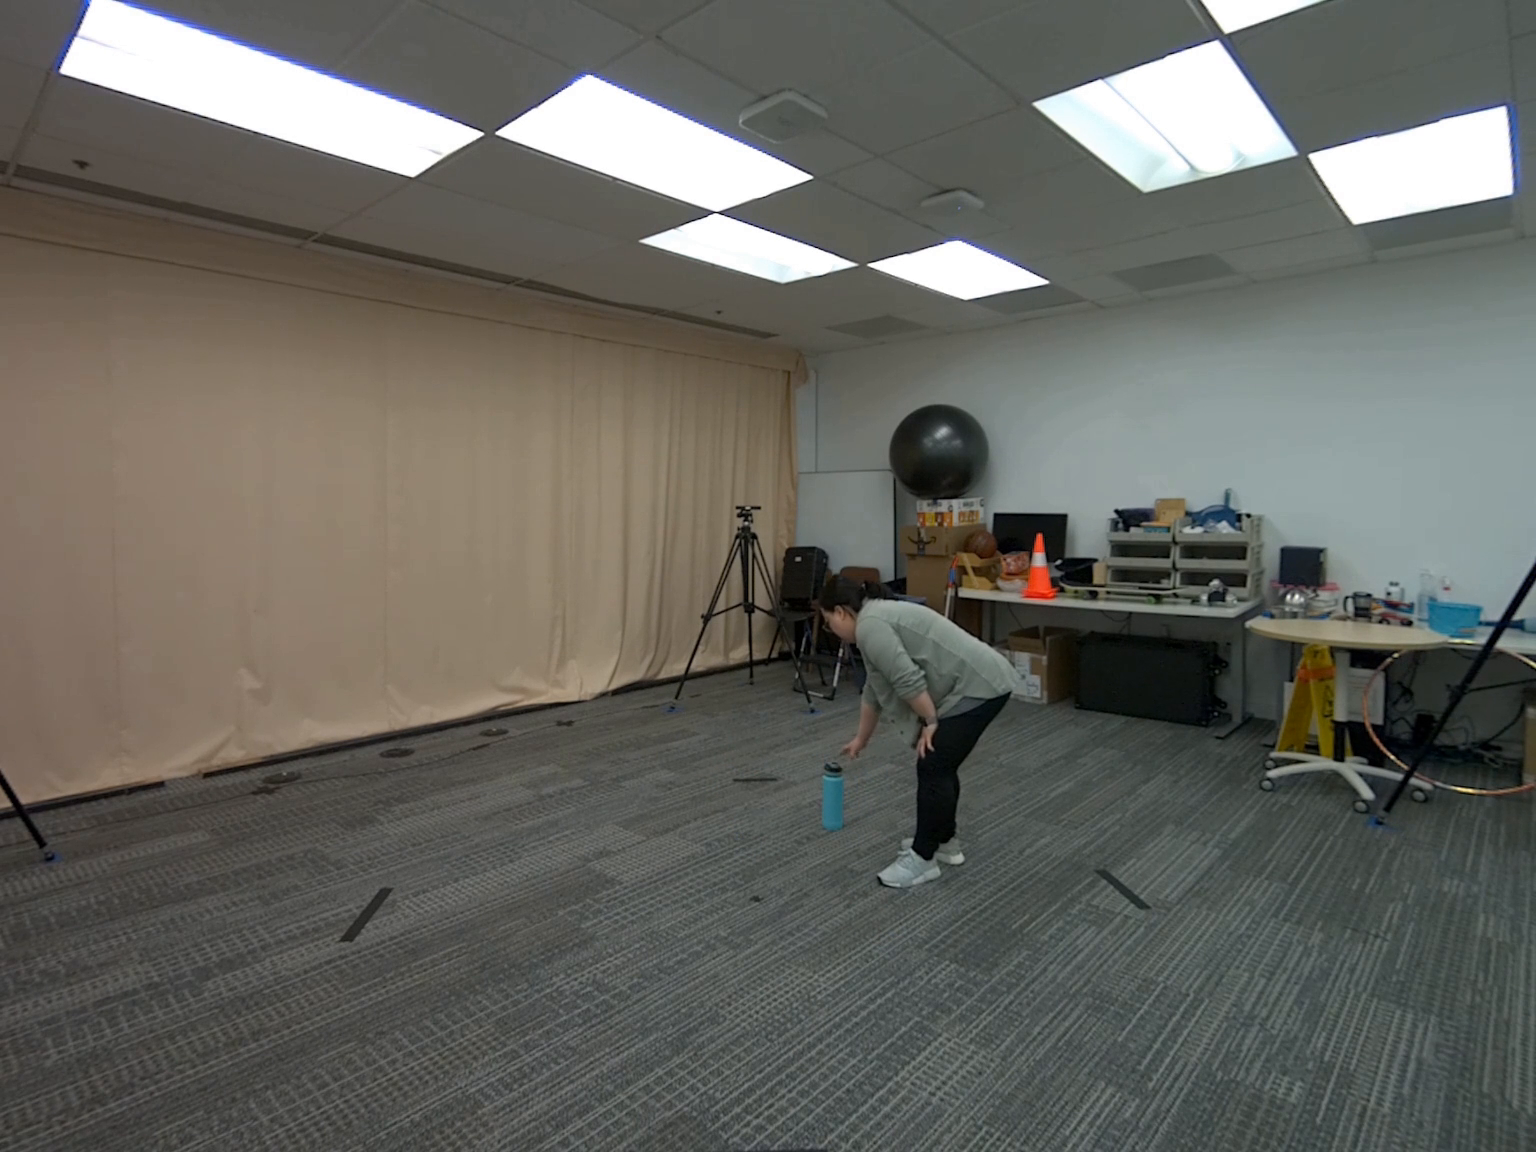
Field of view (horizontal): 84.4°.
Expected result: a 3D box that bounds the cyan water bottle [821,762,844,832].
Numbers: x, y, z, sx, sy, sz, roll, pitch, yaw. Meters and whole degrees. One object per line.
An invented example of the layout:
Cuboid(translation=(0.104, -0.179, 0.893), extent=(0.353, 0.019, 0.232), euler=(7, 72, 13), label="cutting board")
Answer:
Cuboid(translation=(0.286, 0.948, 3.656), extent=(0.092, 0.283, 0.092), euler=(1, 2, -2), label="cyan water bottle")
